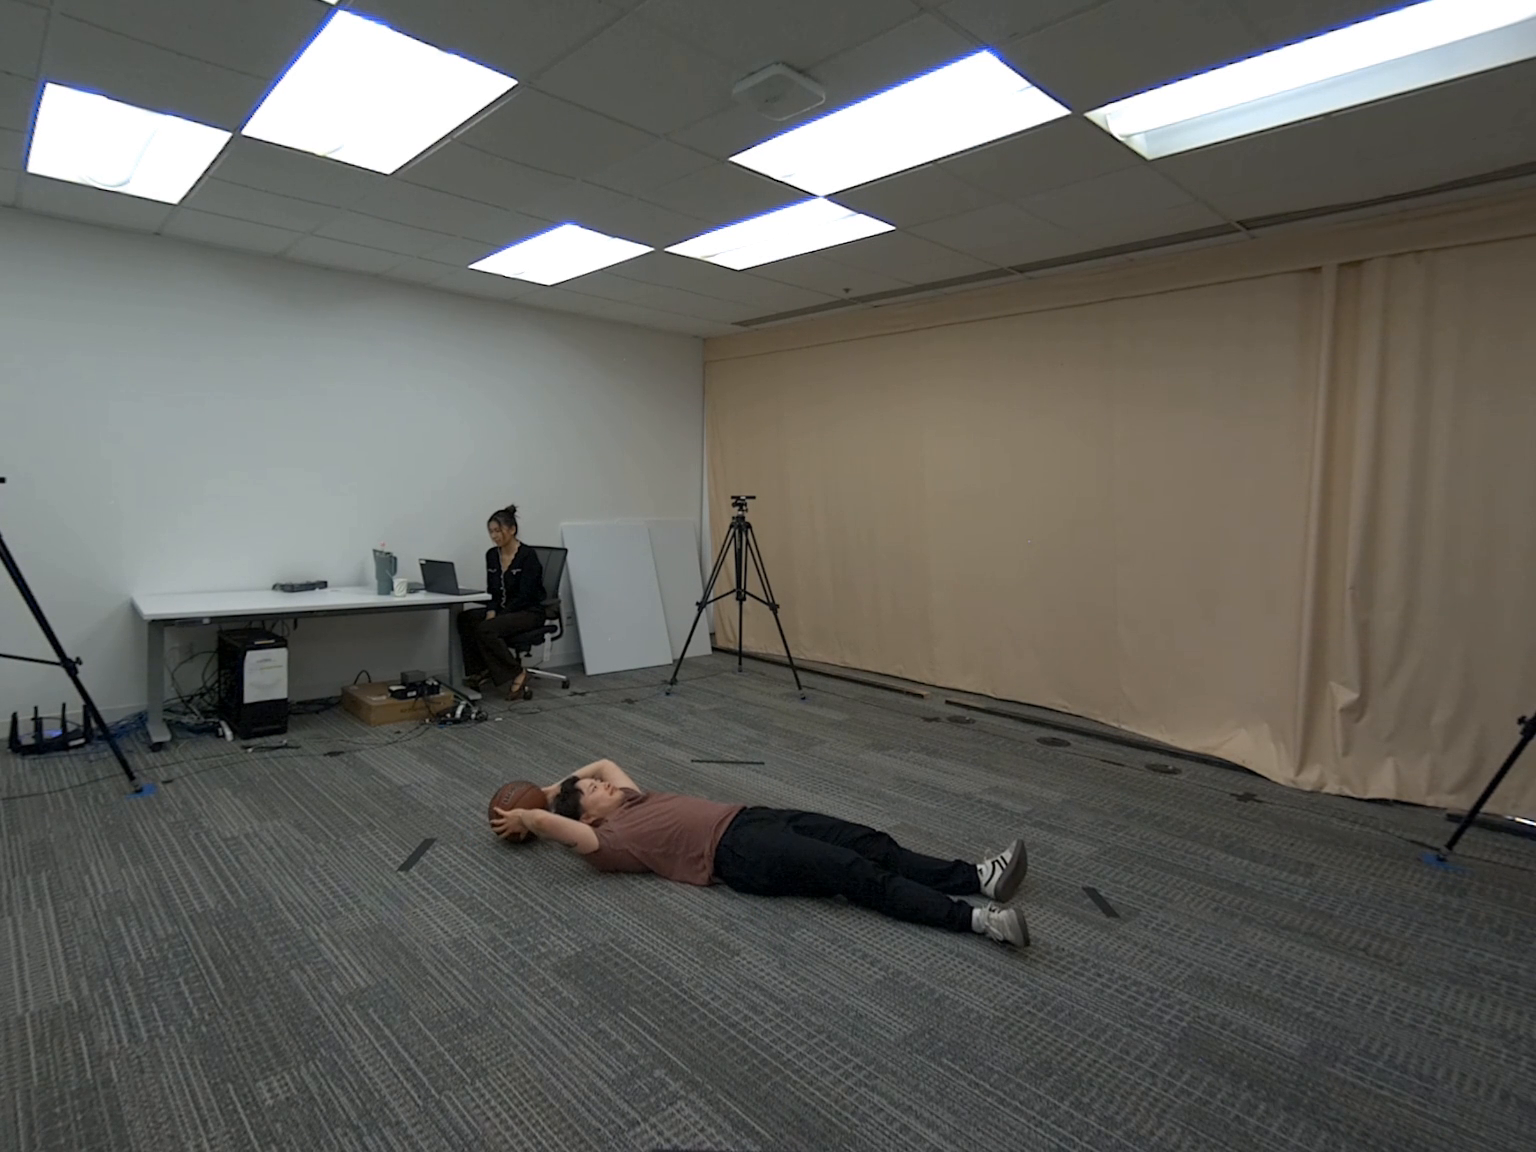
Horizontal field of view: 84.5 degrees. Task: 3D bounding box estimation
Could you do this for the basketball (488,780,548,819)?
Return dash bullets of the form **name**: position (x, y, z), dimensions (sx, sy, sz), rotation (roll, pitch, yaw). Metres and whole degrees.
- **basketball**: position (-0.997, 0.937, 3.362), dimensions (0.236, 0.234, 0.237), rotation (0, 8, -1)
